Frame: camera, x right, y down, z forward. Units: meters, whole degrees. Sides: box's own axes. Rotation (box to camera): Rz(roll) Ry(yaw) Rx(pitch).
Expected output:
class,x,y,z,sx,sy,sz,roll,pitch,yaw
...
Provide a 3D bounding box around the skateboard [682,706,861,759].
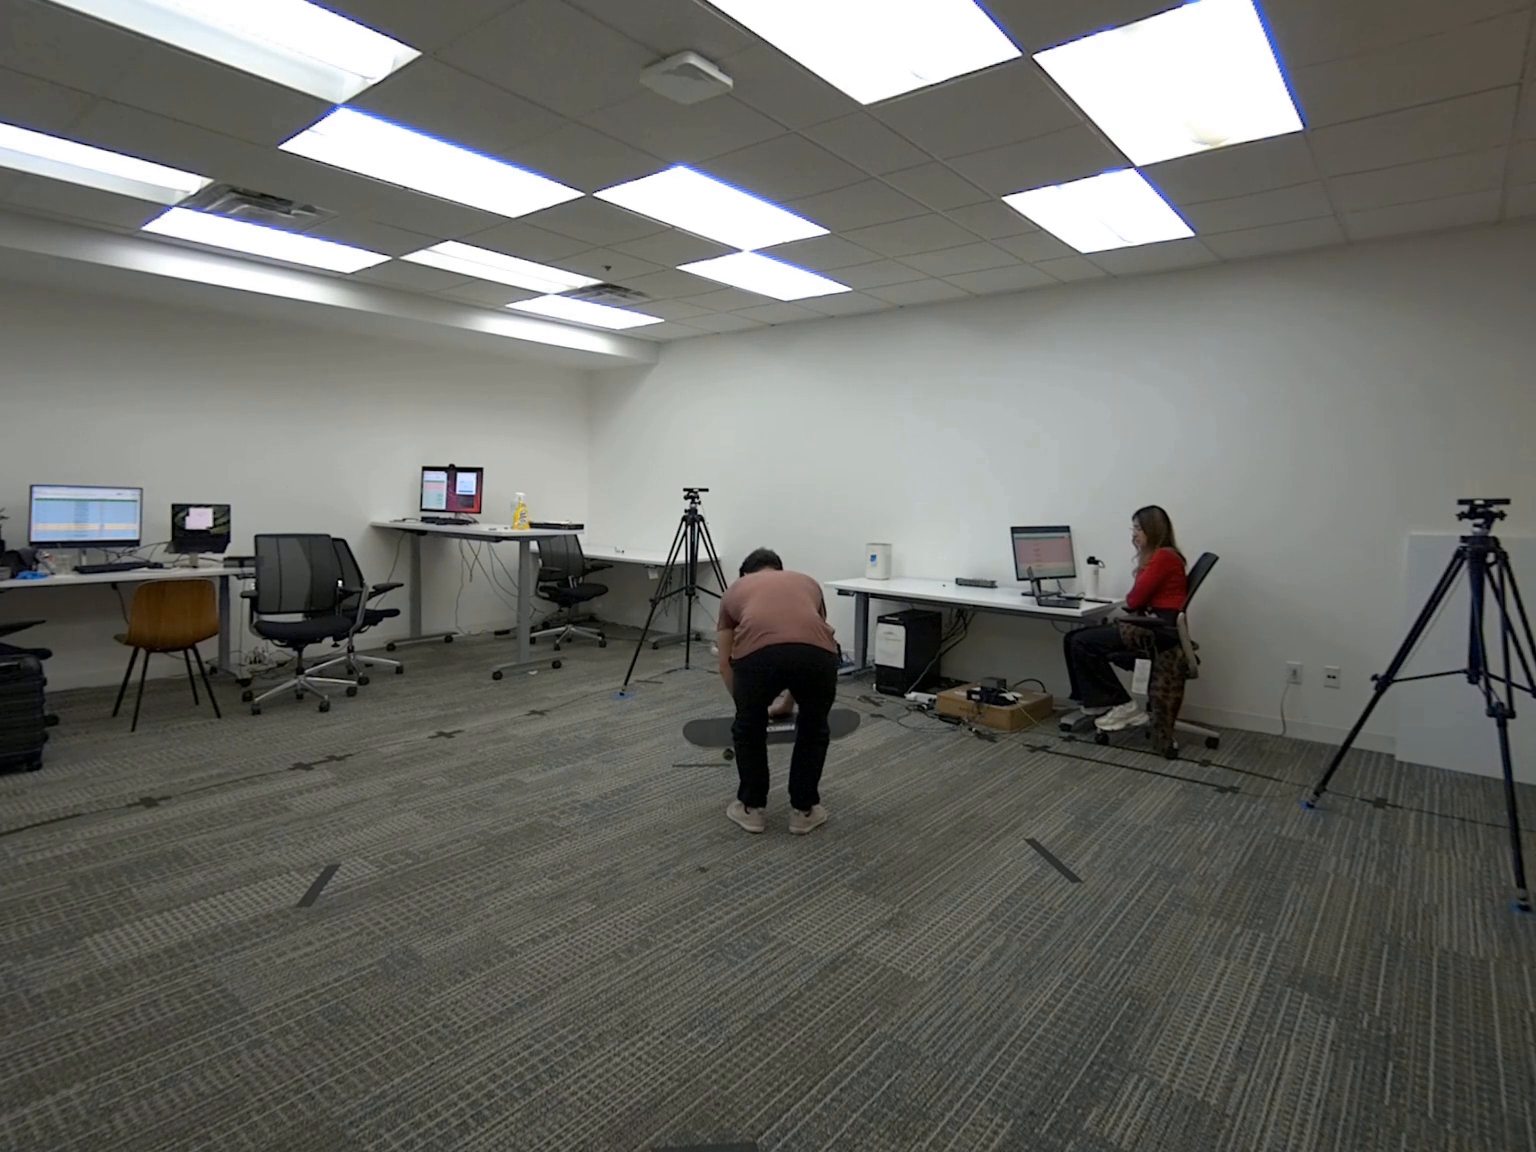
class,x,y,z,sx,sy,sz,roll,pitch,yaw
skateboard,0.003,0.701,3.747,0.784,0.107,0.199,-4,31,-2
